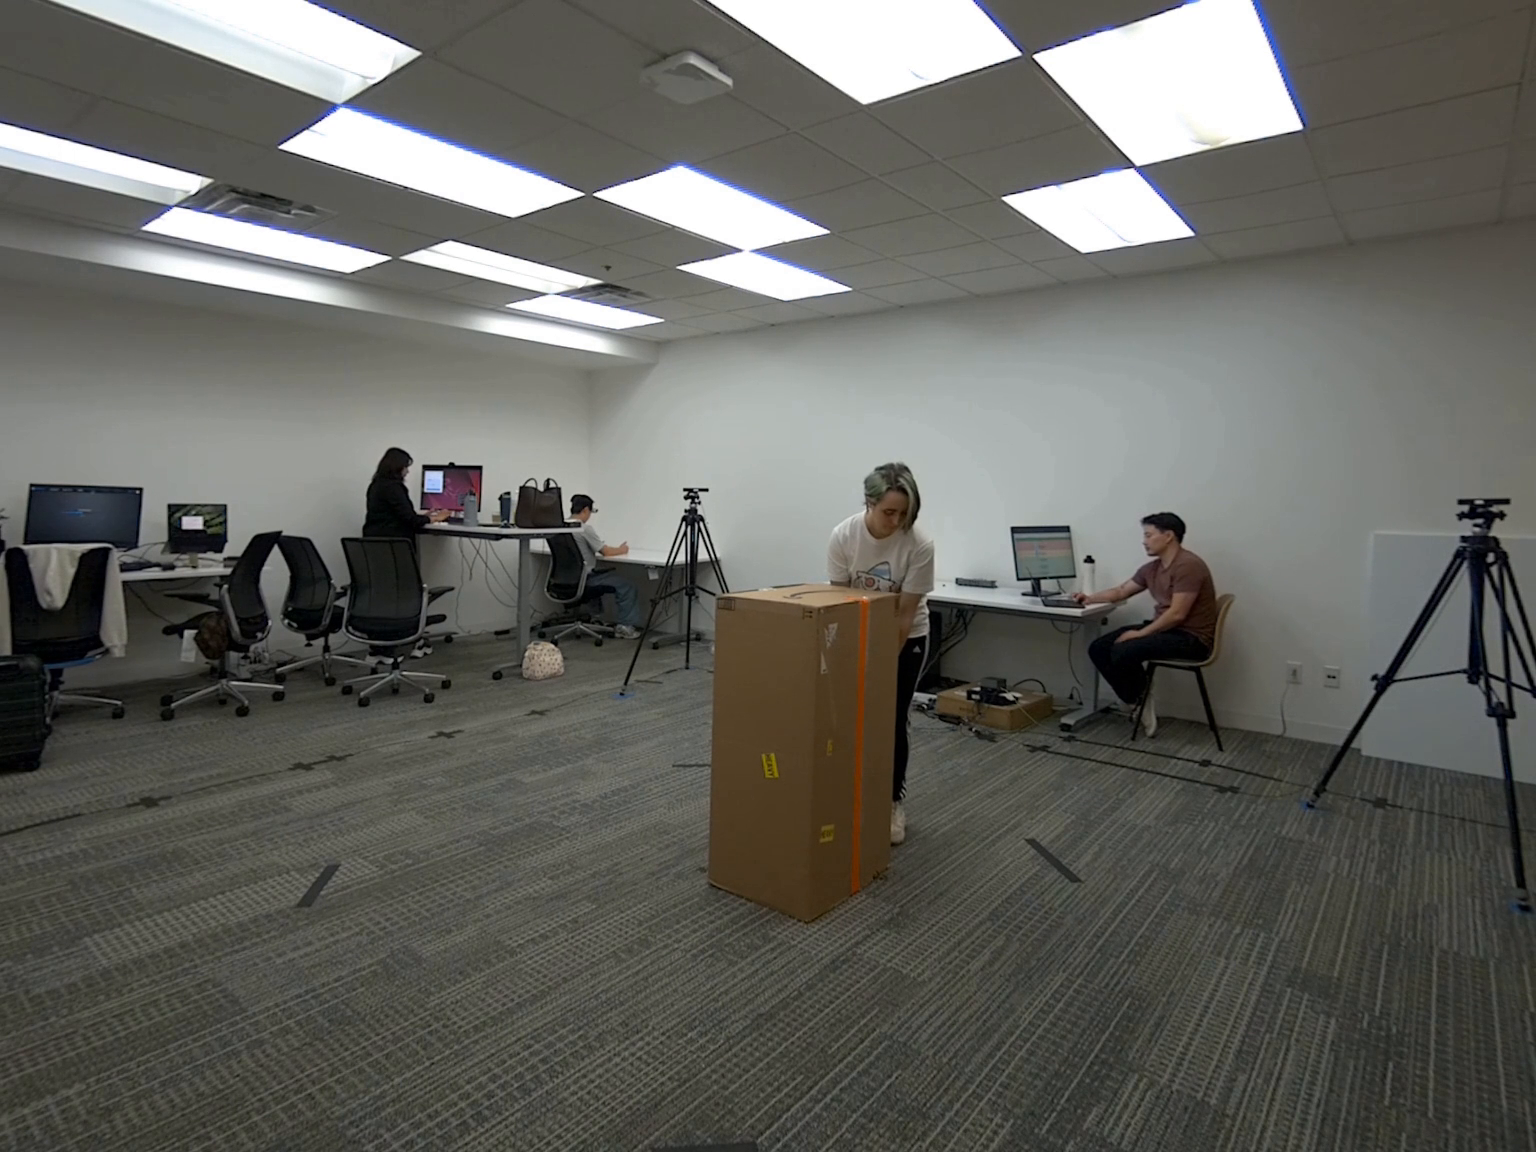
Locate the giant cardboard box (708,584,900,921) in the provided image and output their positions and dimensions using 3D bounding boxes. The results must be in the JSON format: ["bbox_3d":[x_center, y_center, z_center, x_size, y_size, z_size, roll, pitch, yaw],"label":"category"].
[{"bbox_3d":[0.130,0.573,3.055,0.461,1.025,0.567,2,3,36],"label":"giant cardboard box"}]
